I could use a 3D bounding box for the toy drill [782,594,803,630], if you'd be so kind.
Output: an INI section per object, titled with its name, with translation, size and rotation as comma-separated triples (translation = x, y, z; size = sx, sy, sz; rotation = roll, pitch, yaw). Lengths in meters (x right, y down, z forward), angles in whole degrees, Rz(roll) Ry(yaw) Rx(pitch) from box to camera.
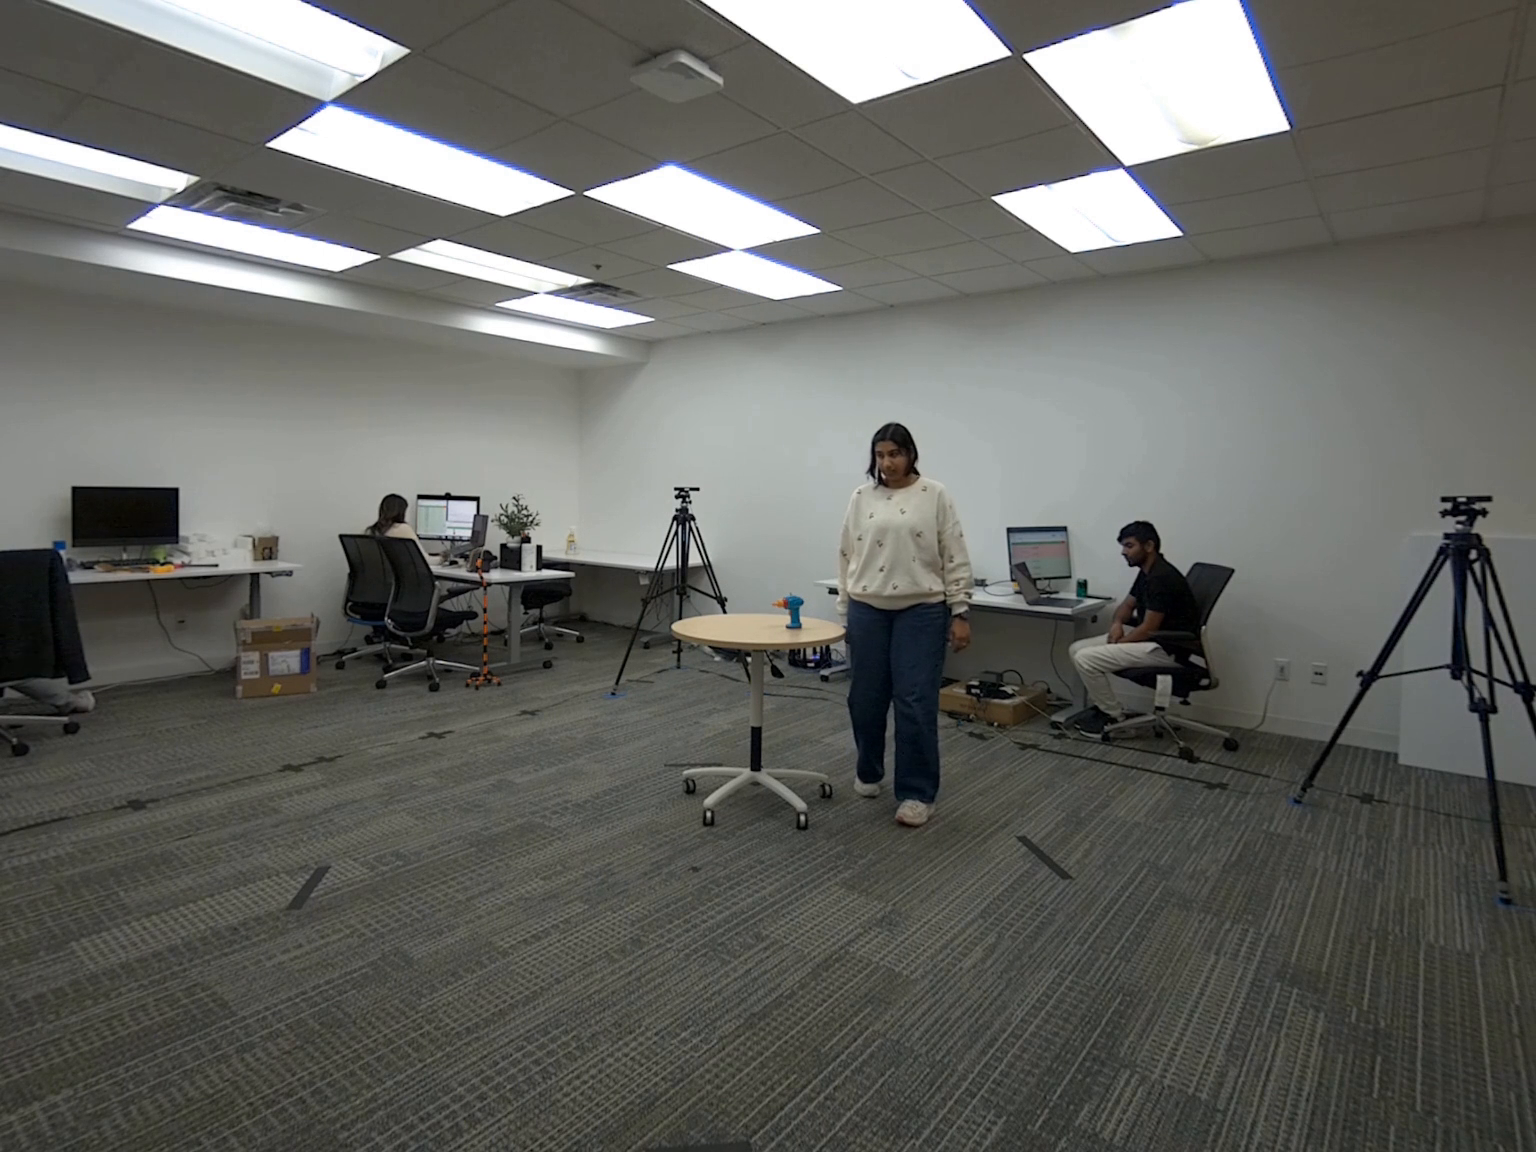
[toy drill]
translation = 0.076, 0.153, 3.736
size = 0.165, 0.145, 0.063
rotation = -3, 8, -30
